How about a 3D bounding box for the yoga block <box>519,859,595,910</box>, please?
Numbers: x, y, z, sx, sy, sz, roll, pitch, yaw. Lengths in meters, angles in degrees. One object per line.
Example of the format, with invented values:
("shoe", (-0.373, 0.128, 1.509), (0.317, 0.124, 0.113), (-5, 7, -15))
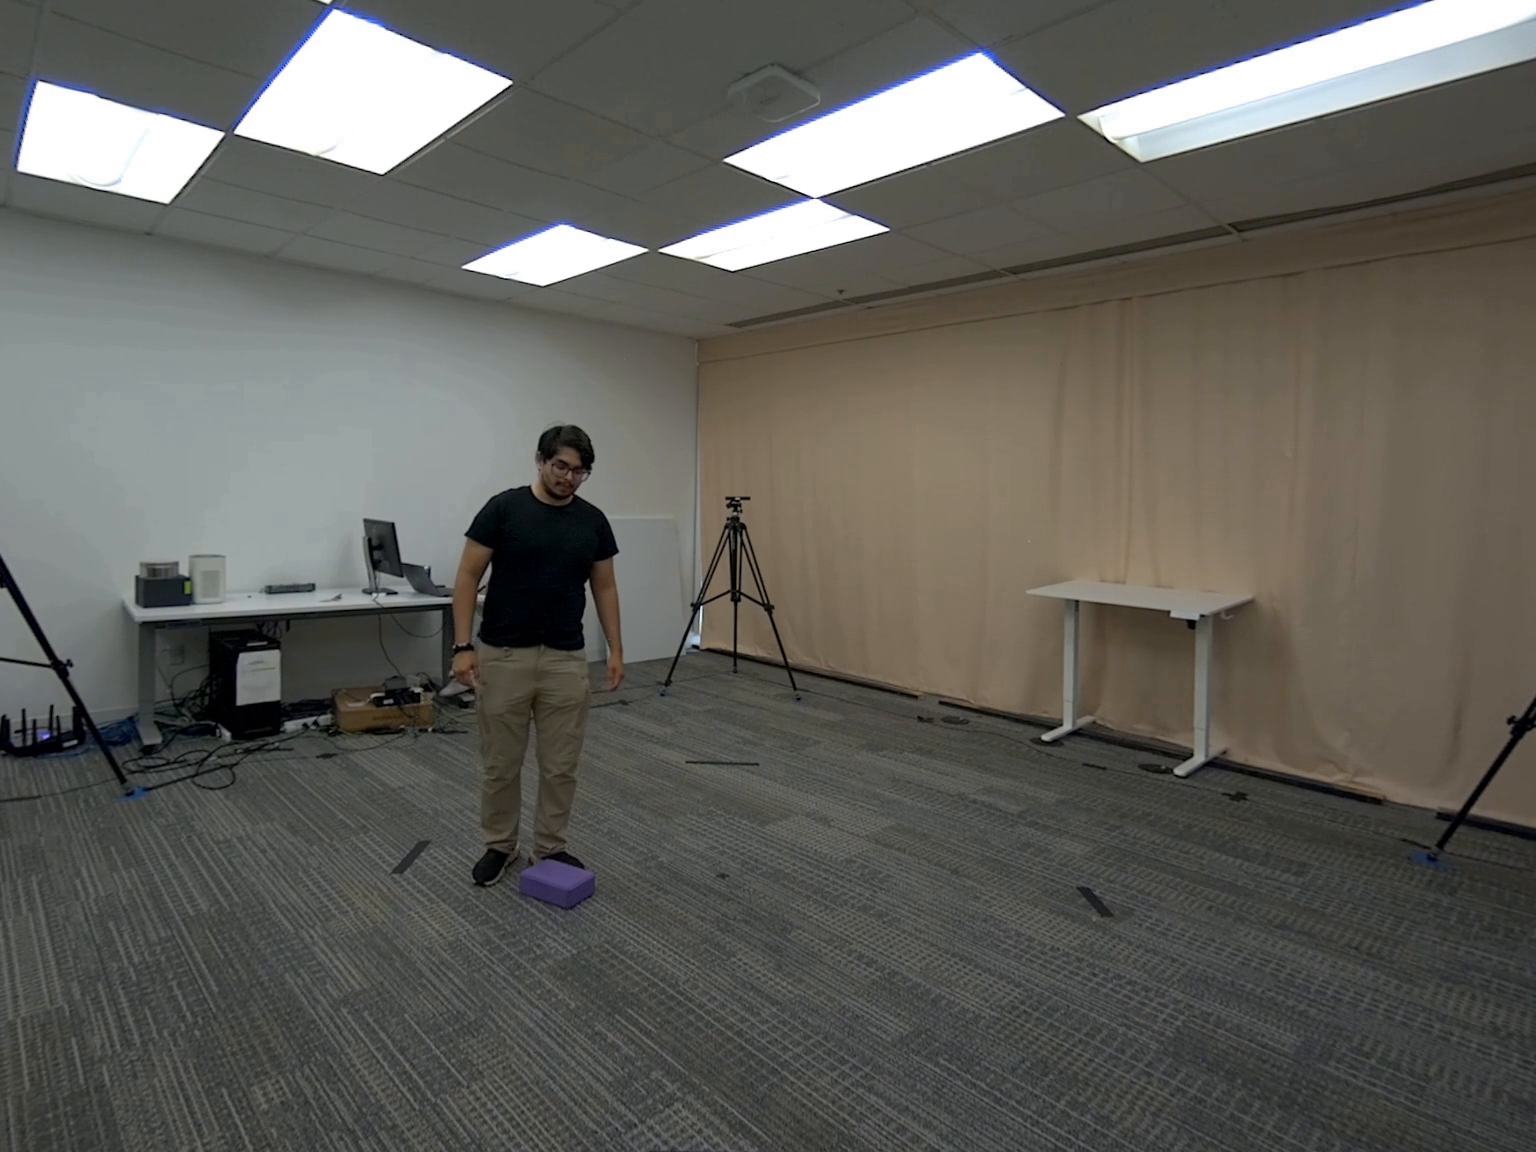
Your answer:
("yoga block", (-0.743, 1.071, 2.931), (0.234, 0.076, 0.146), (5, 6, 29))
